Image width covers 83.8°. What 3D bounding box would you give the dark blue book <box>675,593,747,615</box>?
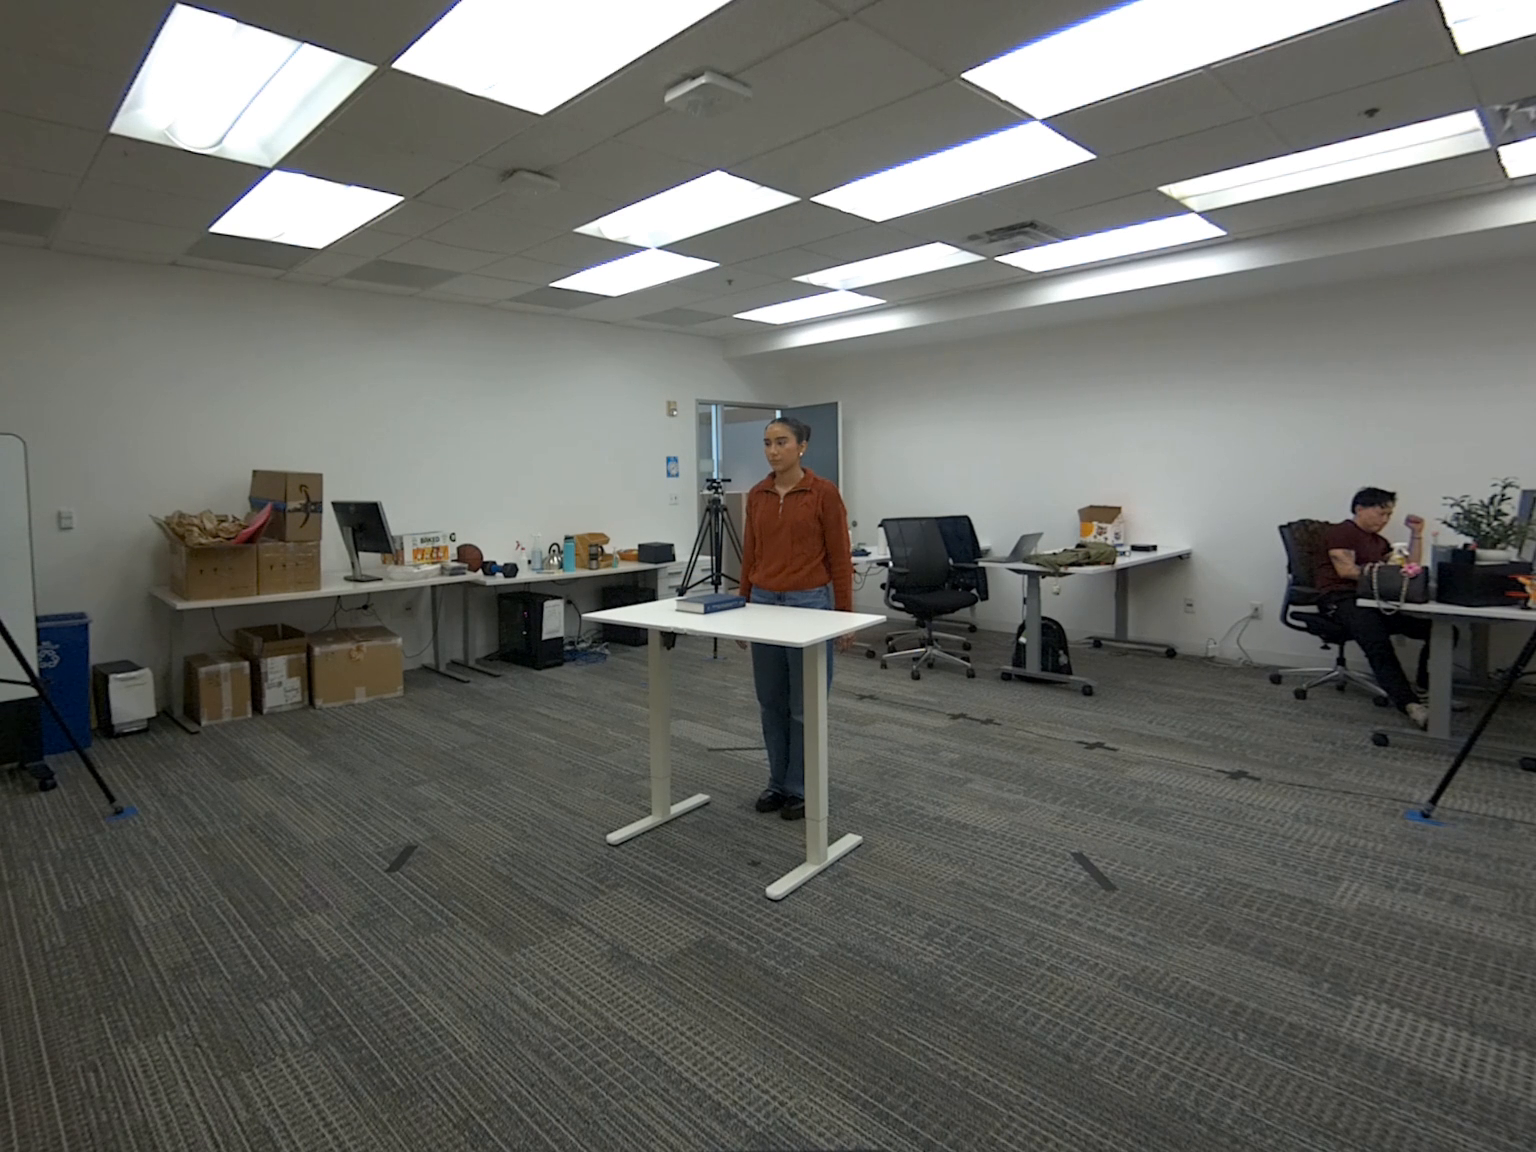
[{"bbox_3d":[-0.230,0.112,3.404,0.168,0.045,0.239,5,8,41],"label":"dark blue book"}]
